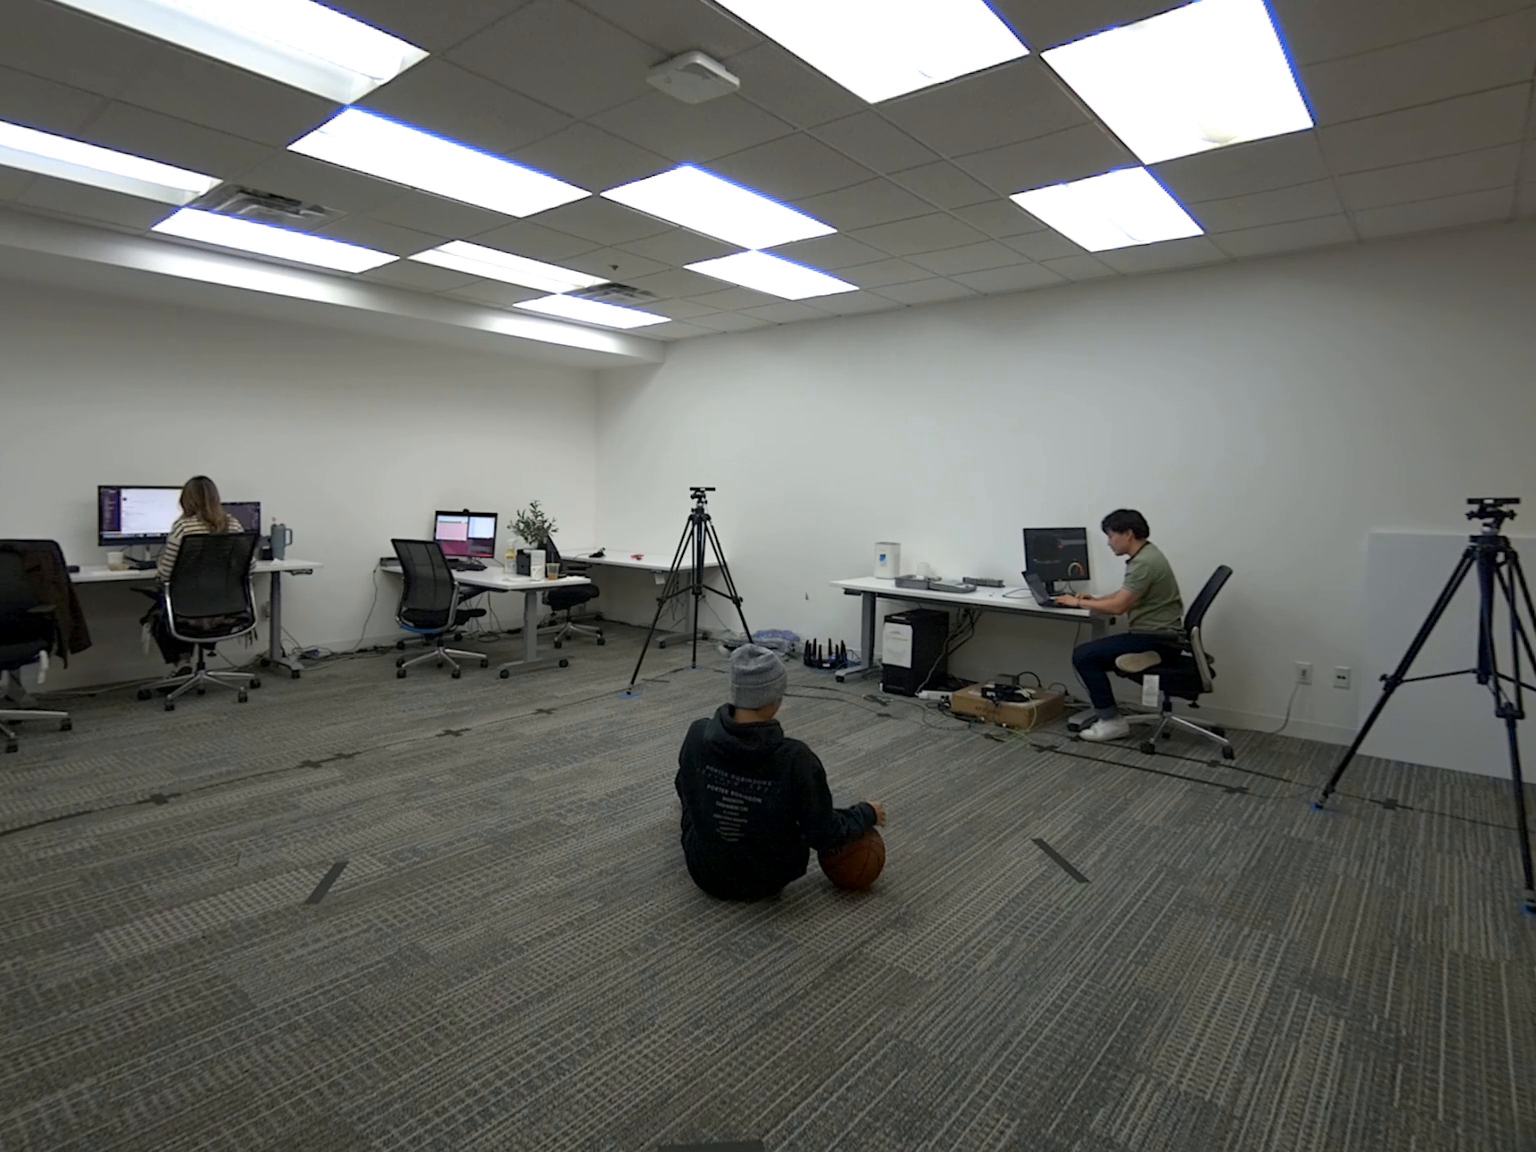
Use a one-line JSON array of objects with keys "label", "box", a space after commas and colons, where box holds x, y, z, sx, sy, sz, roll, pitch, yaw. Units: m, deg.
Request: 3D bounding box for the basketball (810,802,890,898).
[{"label": "basketball", "box": [0.284, 0.964, 2.981, 0.235, 0.235, 0.237, 1, 4, -2]}]
